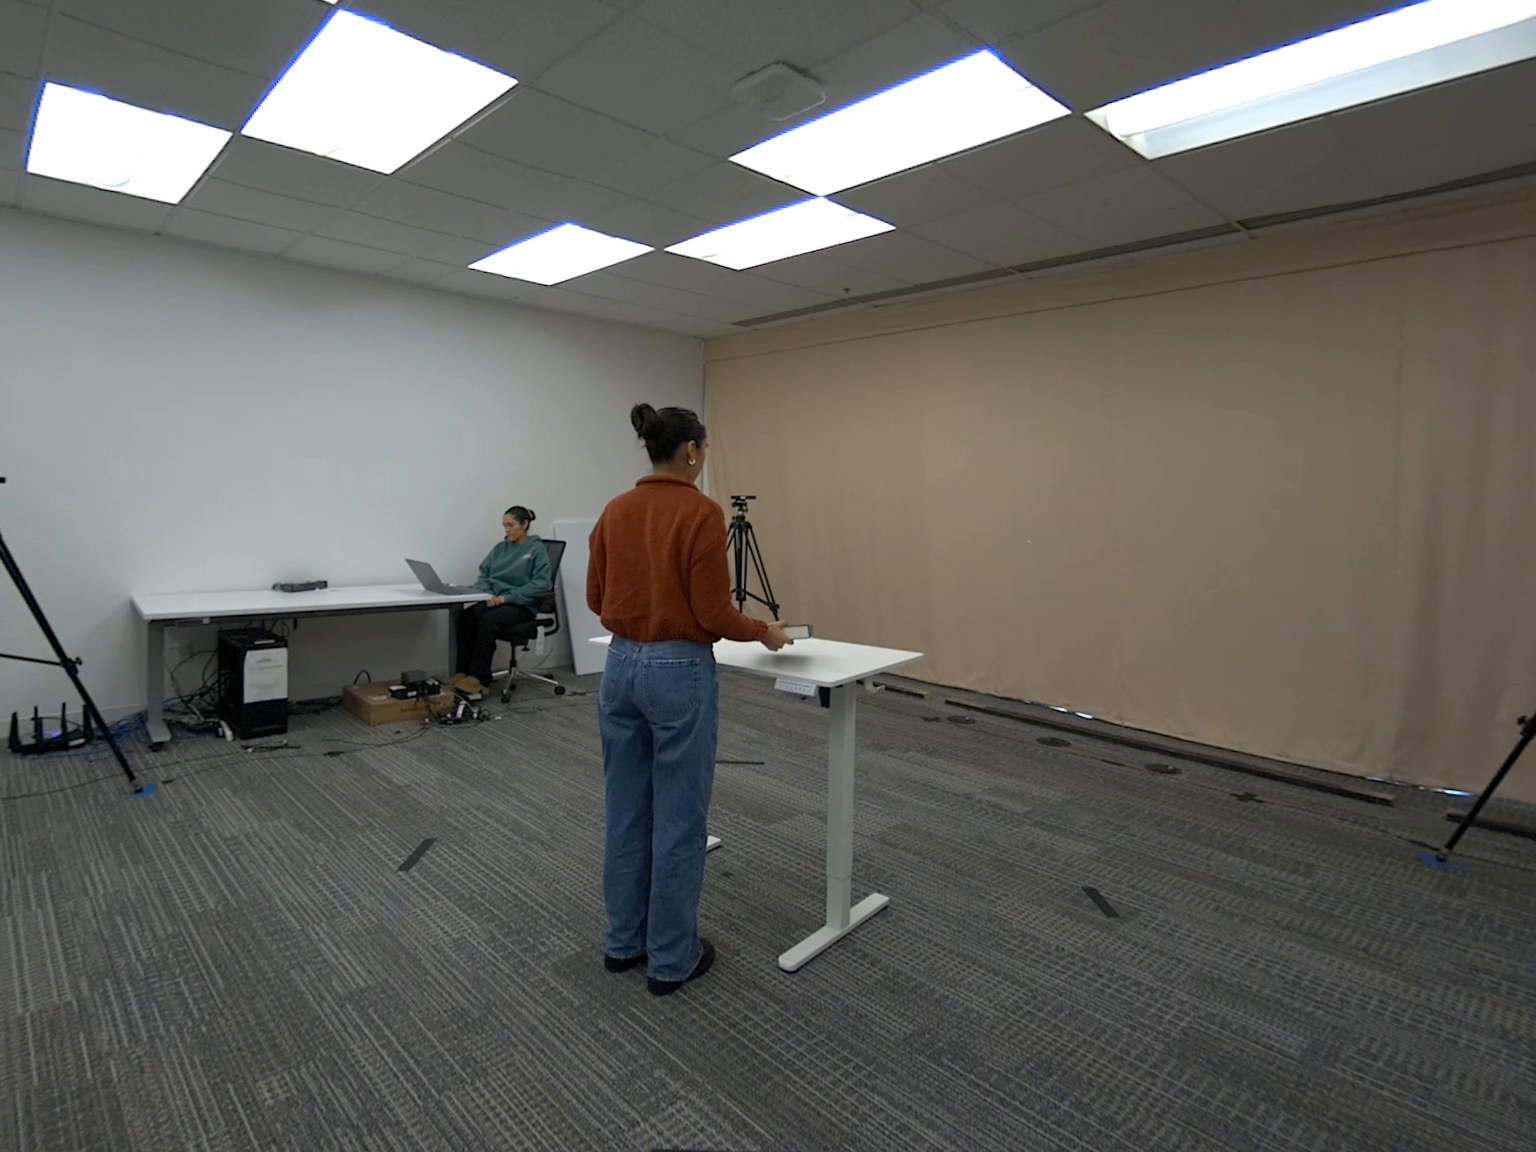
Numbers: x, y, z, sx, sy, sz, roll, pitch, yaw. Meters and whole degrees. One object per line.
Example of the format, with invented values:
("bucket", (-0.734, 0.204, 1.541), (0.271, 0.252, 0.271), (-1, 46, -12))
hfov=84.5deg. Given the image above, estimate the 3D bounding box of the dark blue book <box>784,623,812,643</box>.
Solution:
("dark blue book", (0.067, 0.177, 2.630), (0.164, 0.045, 0.243), (-3, -2, 5))
